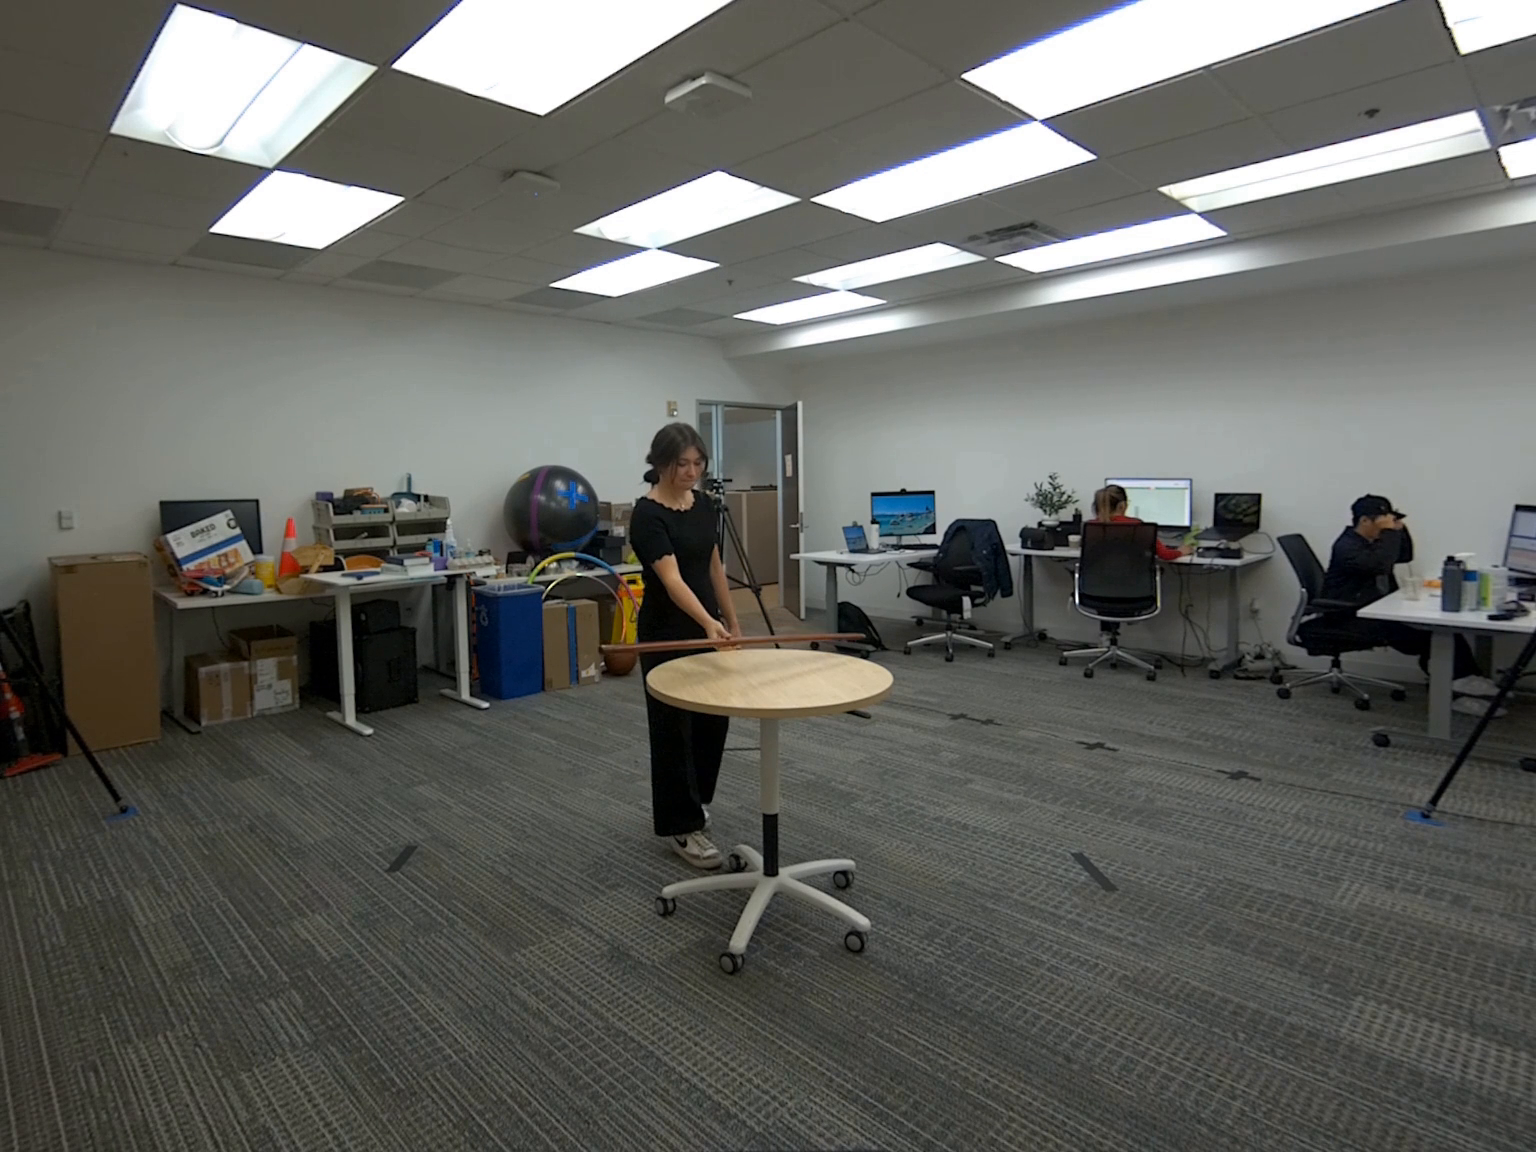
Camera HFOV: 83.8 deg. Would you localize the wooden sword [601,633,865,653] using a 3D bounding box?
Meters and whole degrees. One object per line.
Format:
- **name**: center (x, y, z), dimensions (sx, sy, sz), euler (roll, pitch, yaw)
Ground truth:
- **wooden sword**: center (-0.052, 0.217, 2.691), dimensions (0.996, 0.051, 0.025), euler (1, 25, -36)
